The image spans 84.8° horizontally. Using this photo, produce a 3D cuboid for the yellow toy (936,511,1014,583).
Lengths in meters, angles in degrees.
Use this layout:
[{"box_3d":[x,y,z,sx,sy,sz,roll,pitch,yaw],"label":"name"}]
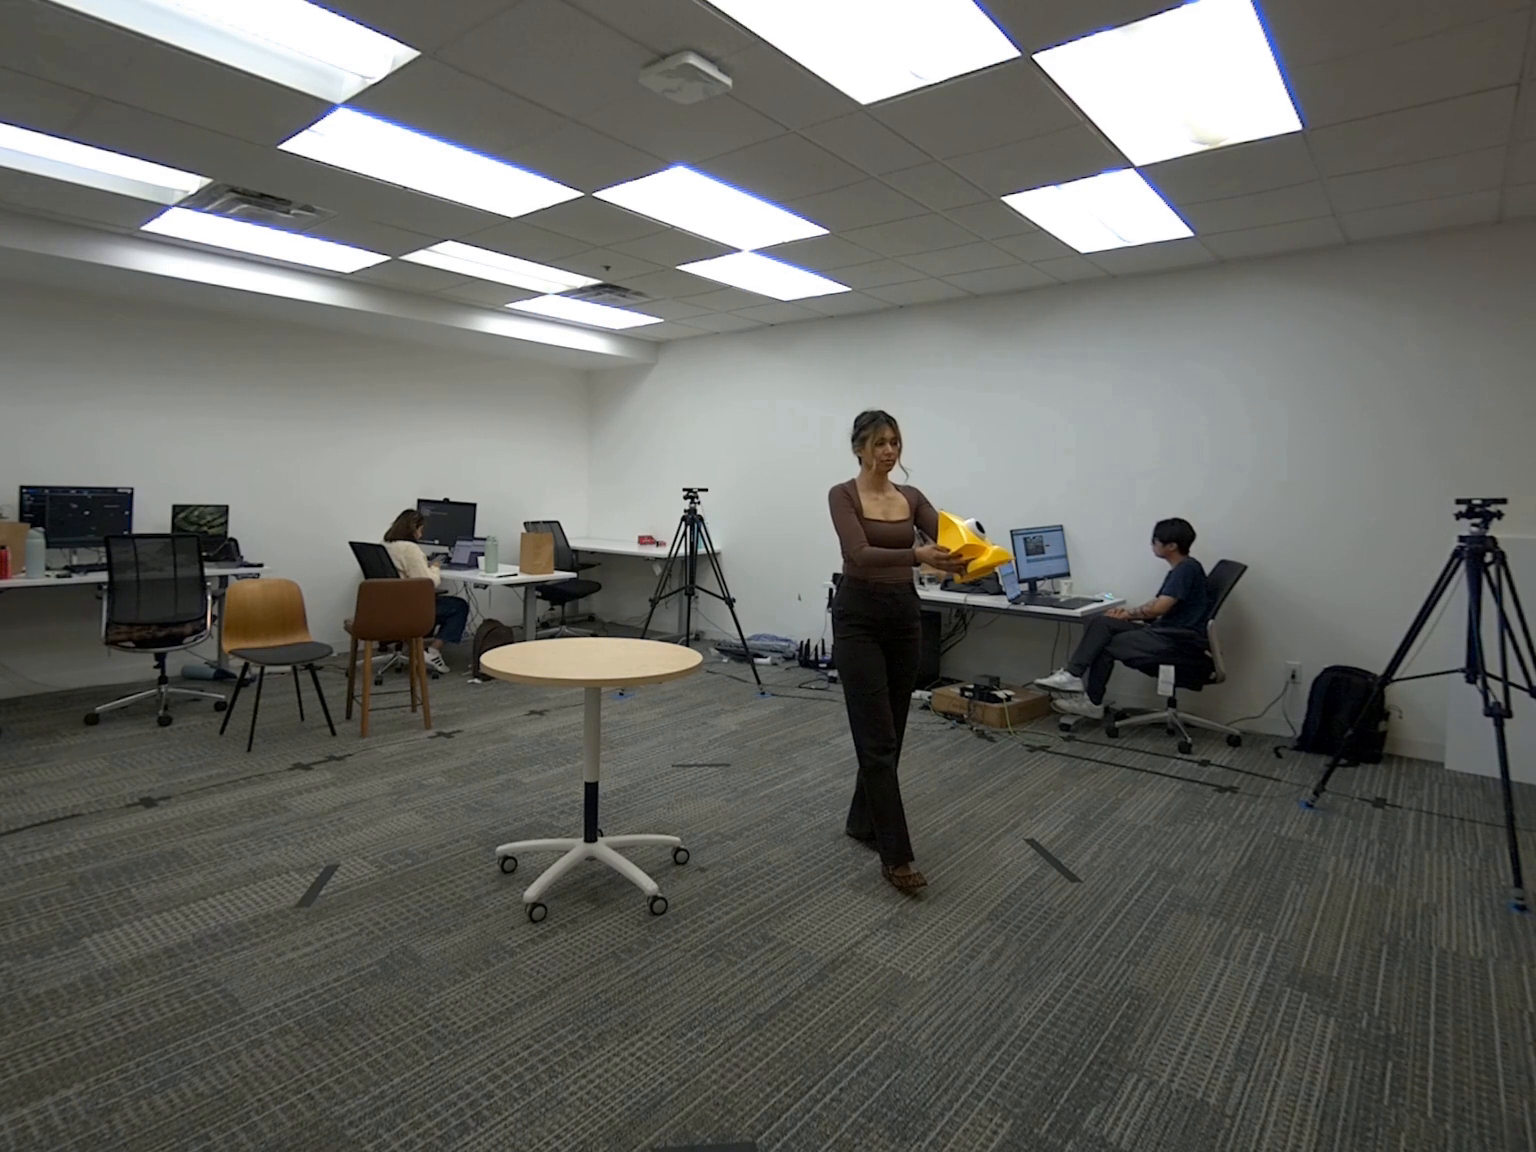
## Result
[{"box_3d":[0.658,-0.125,2.804,0.189,0.235,0.205,-12,-16,-24],"label":"yellow toy"}]
